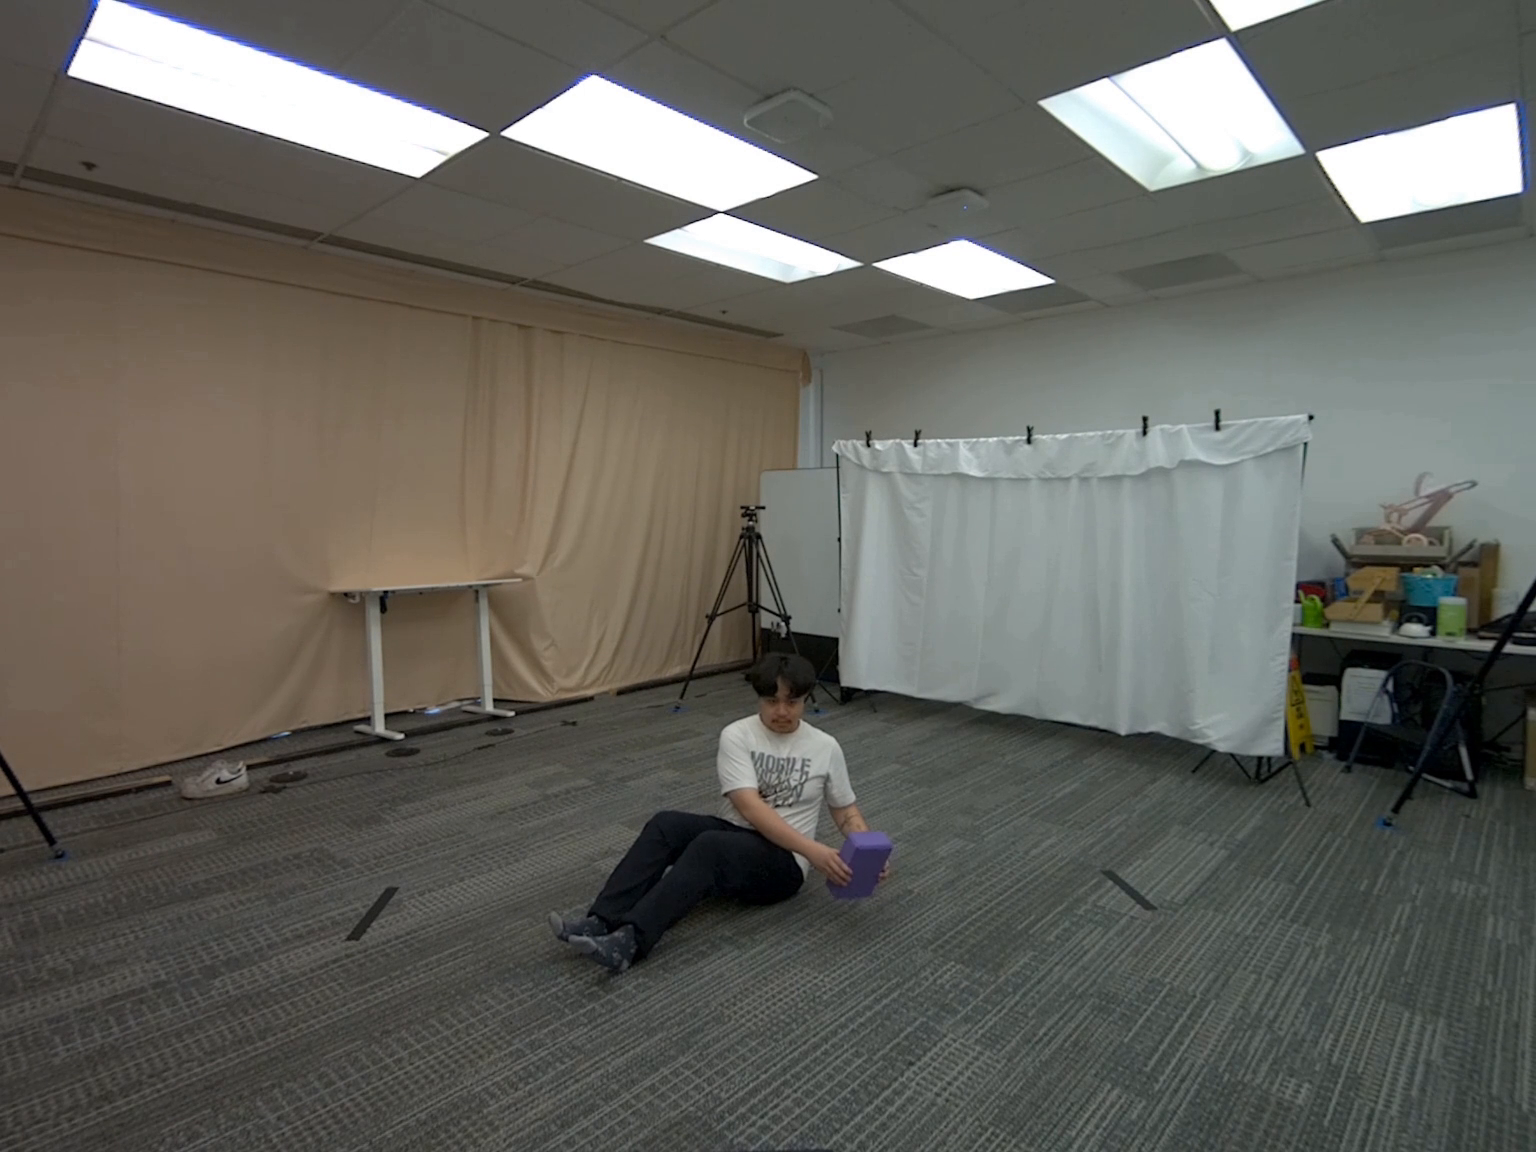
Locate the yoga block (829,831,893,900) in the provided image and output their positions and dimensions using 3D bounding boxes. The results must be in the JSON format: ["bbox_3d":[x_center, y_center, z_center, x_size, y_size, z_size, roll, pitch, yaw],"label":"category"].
[{"bbox_3d":[0.290,0.946,2.753,0.145,0.228,0.079,7,23,-27],"label":"yoga block"}]
